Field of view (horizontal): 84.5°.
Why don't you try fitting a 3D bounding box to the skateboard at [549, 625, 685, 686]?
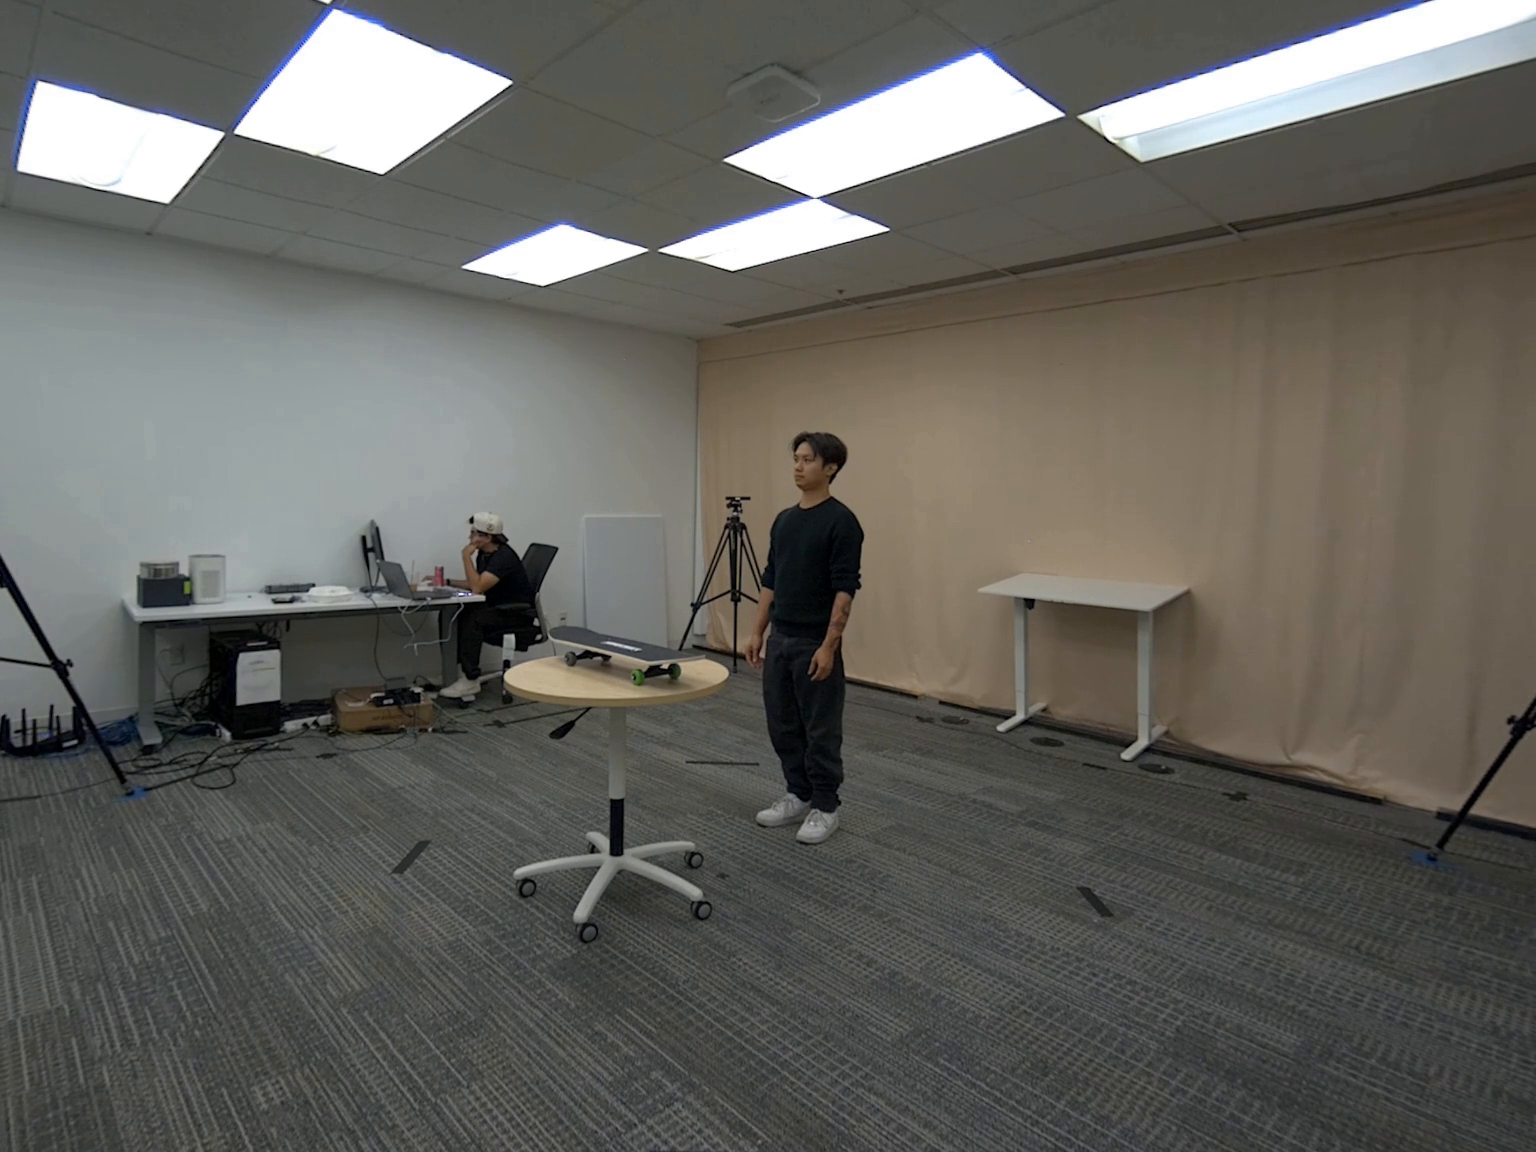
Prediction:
[{"bbox_3d":[-0.521,0.282,2.928,0.189,0.110,0.806,-4,7,-45],"label":"skateboard"}]
